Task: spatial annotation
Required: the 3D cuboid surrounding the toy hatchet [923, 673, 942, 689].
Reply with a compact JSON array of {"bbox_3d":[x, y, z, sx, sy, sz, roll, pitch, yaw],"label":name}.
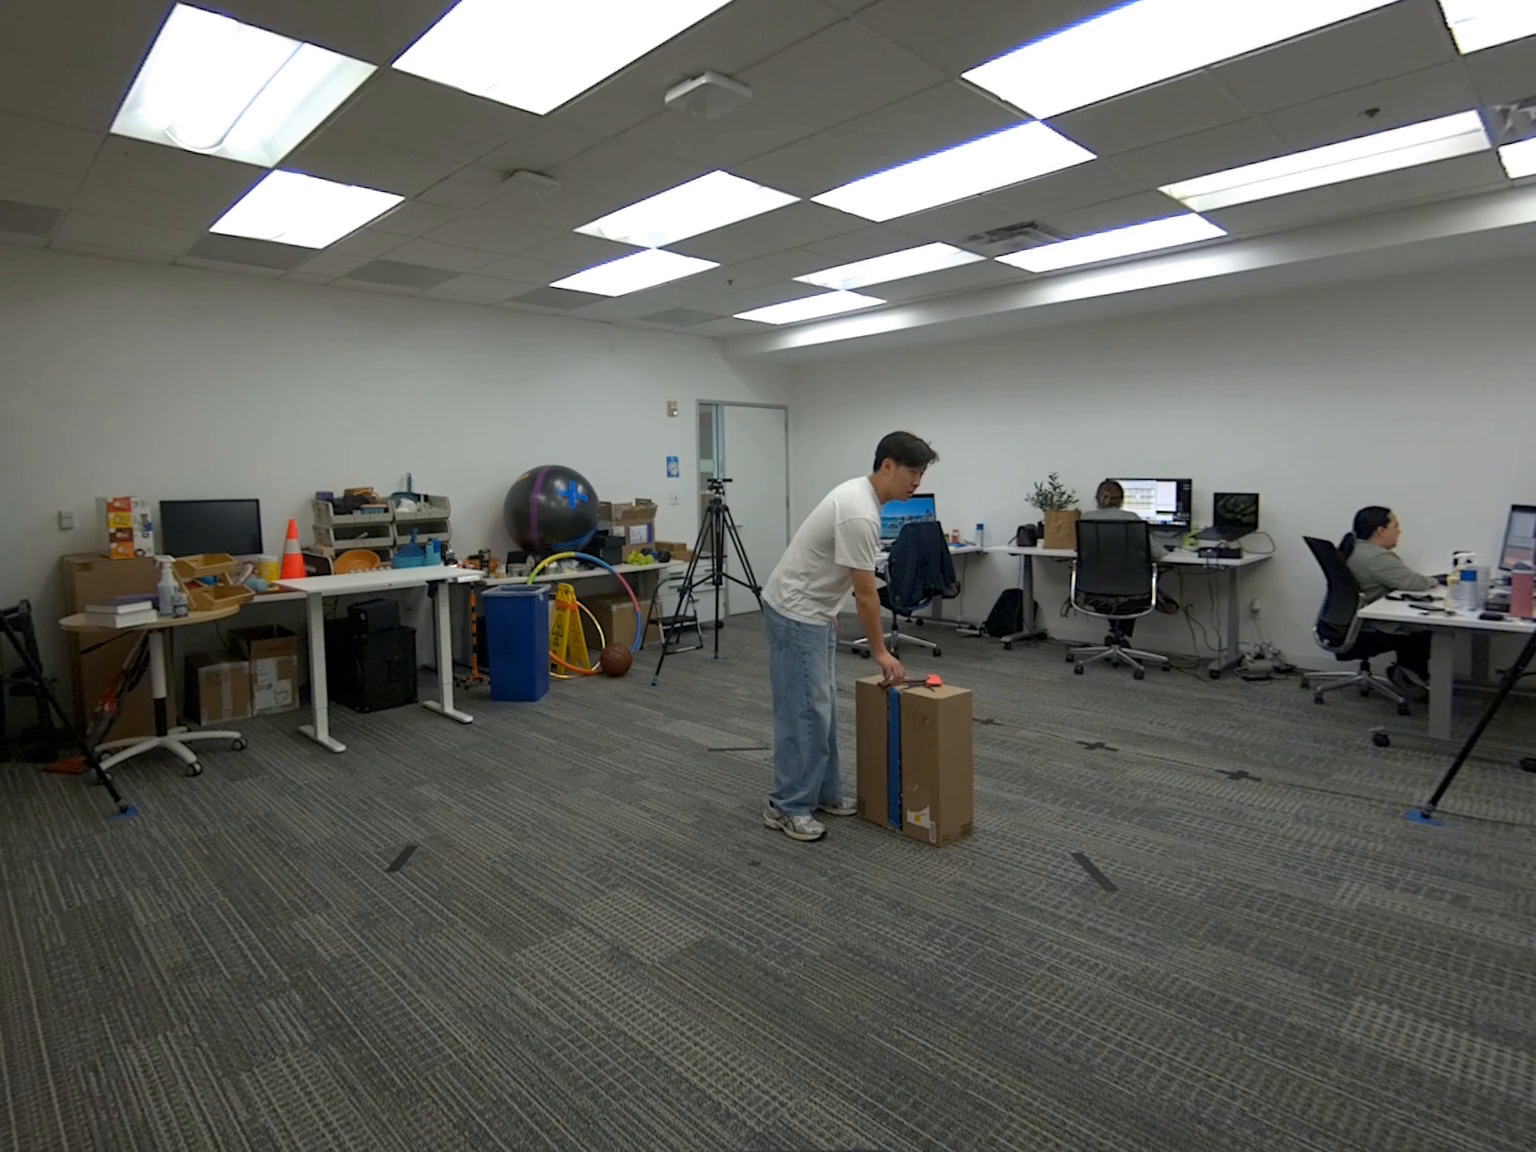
[{"bbox_3d":[0.572,0.425,3.385,0.264,0.029,0.135,-7,12,-28],"label":"toy hatchet"}]
